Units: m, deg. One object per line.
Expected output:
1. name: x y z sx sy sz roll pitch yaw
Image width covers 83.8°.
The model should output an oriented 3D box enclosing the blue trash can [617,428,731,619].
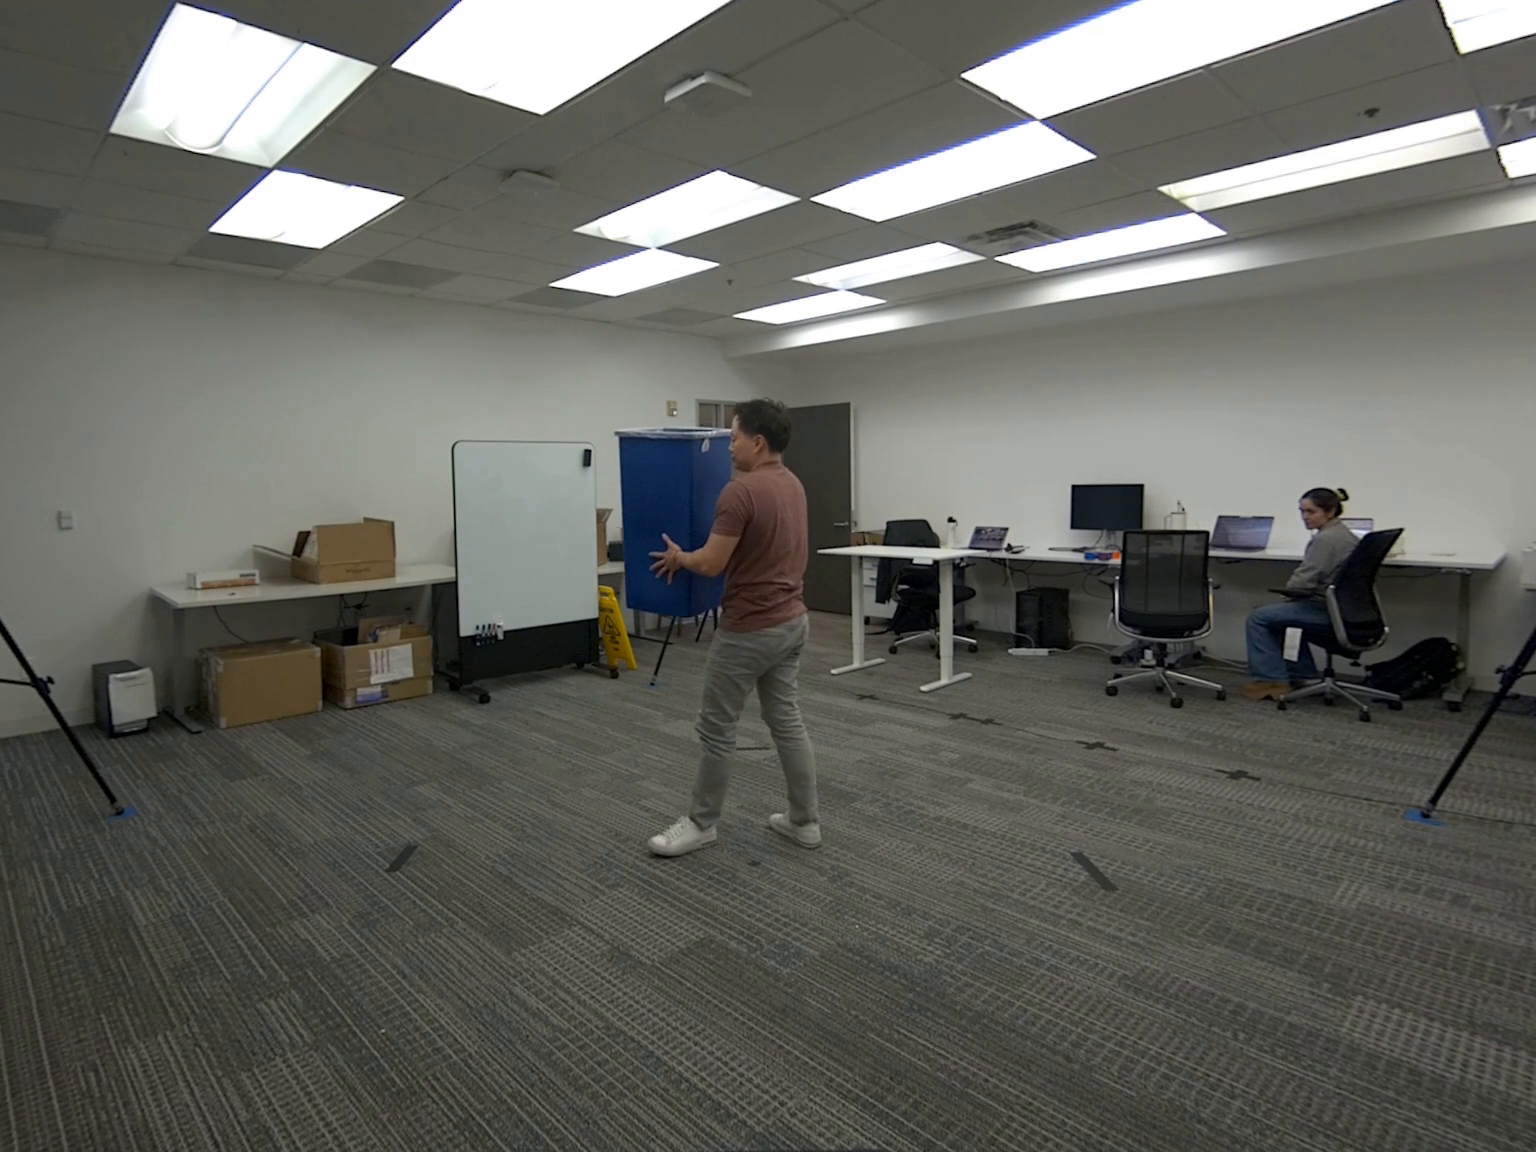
1. blue trash can: -0.373 -0.235 3.423 0.384 0.707 0.371 8 12 26
